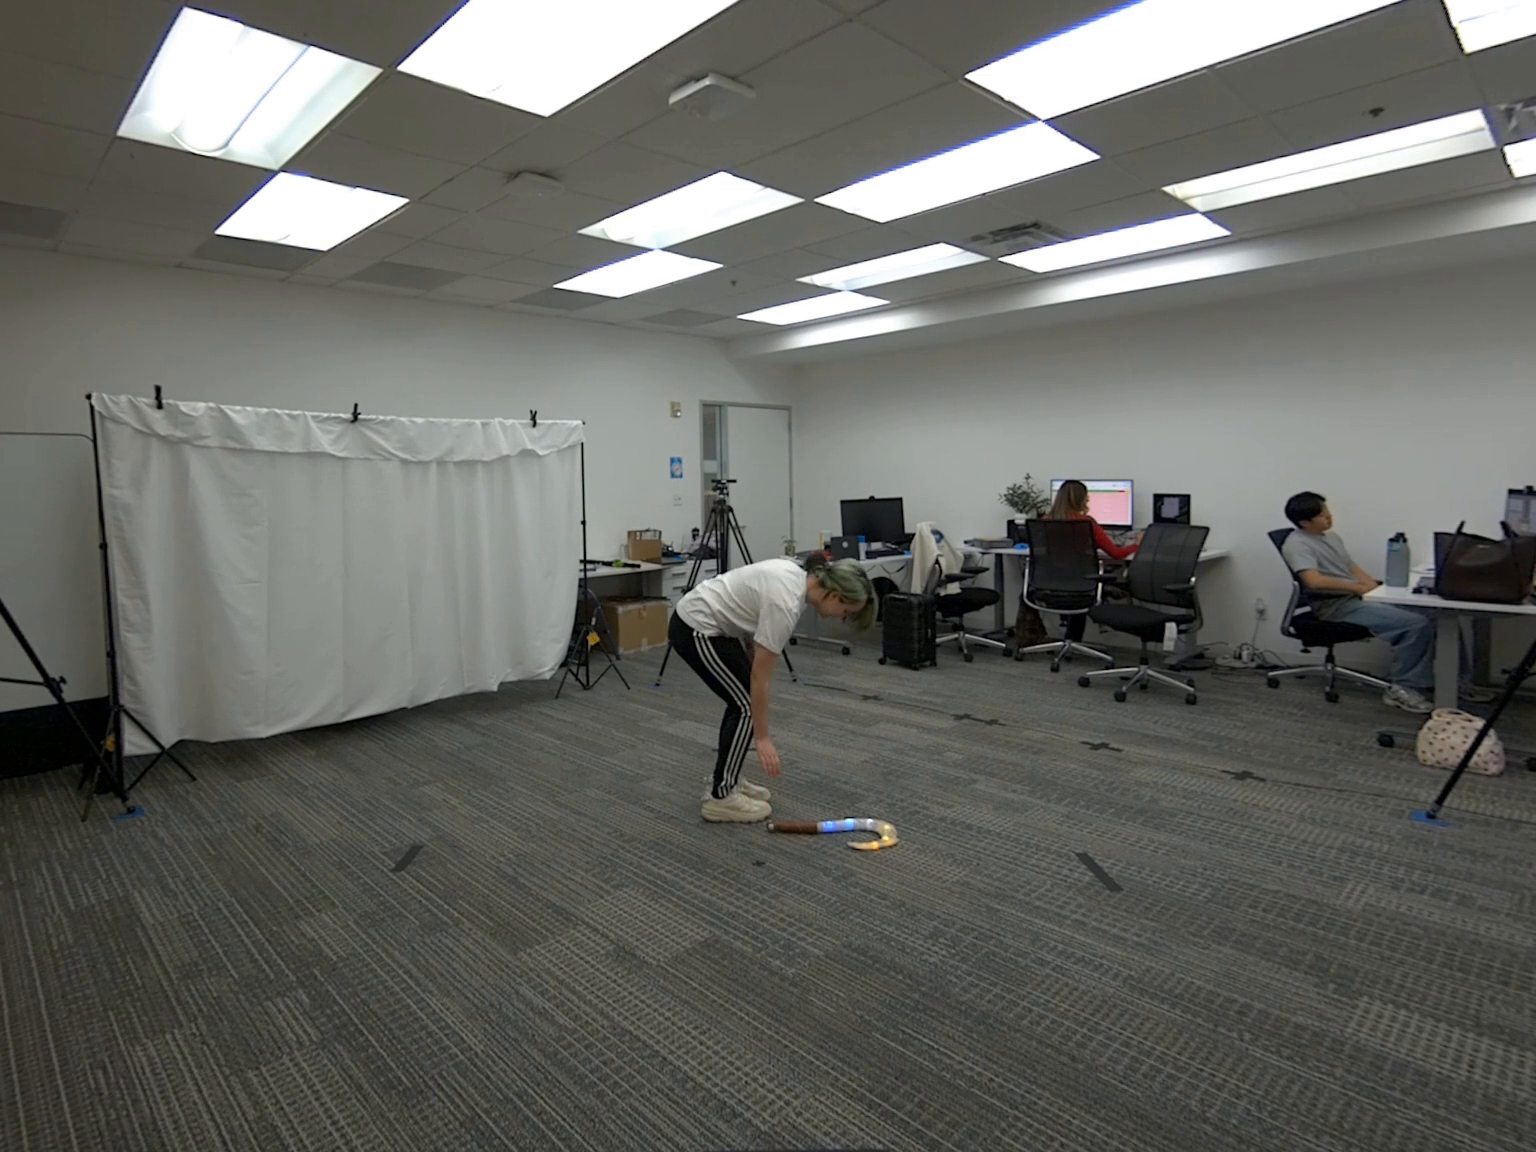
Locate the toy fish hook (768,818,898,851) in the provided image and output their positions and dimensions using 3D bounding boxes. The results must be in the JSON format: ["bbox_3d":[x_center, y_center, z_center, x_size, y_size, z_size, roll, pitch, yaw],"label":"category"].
[{"bbox_3d":[0.245,0.994,3.315,0.509,0.048,0.224,-1,5,5],"label":"toy fish hook"}]
